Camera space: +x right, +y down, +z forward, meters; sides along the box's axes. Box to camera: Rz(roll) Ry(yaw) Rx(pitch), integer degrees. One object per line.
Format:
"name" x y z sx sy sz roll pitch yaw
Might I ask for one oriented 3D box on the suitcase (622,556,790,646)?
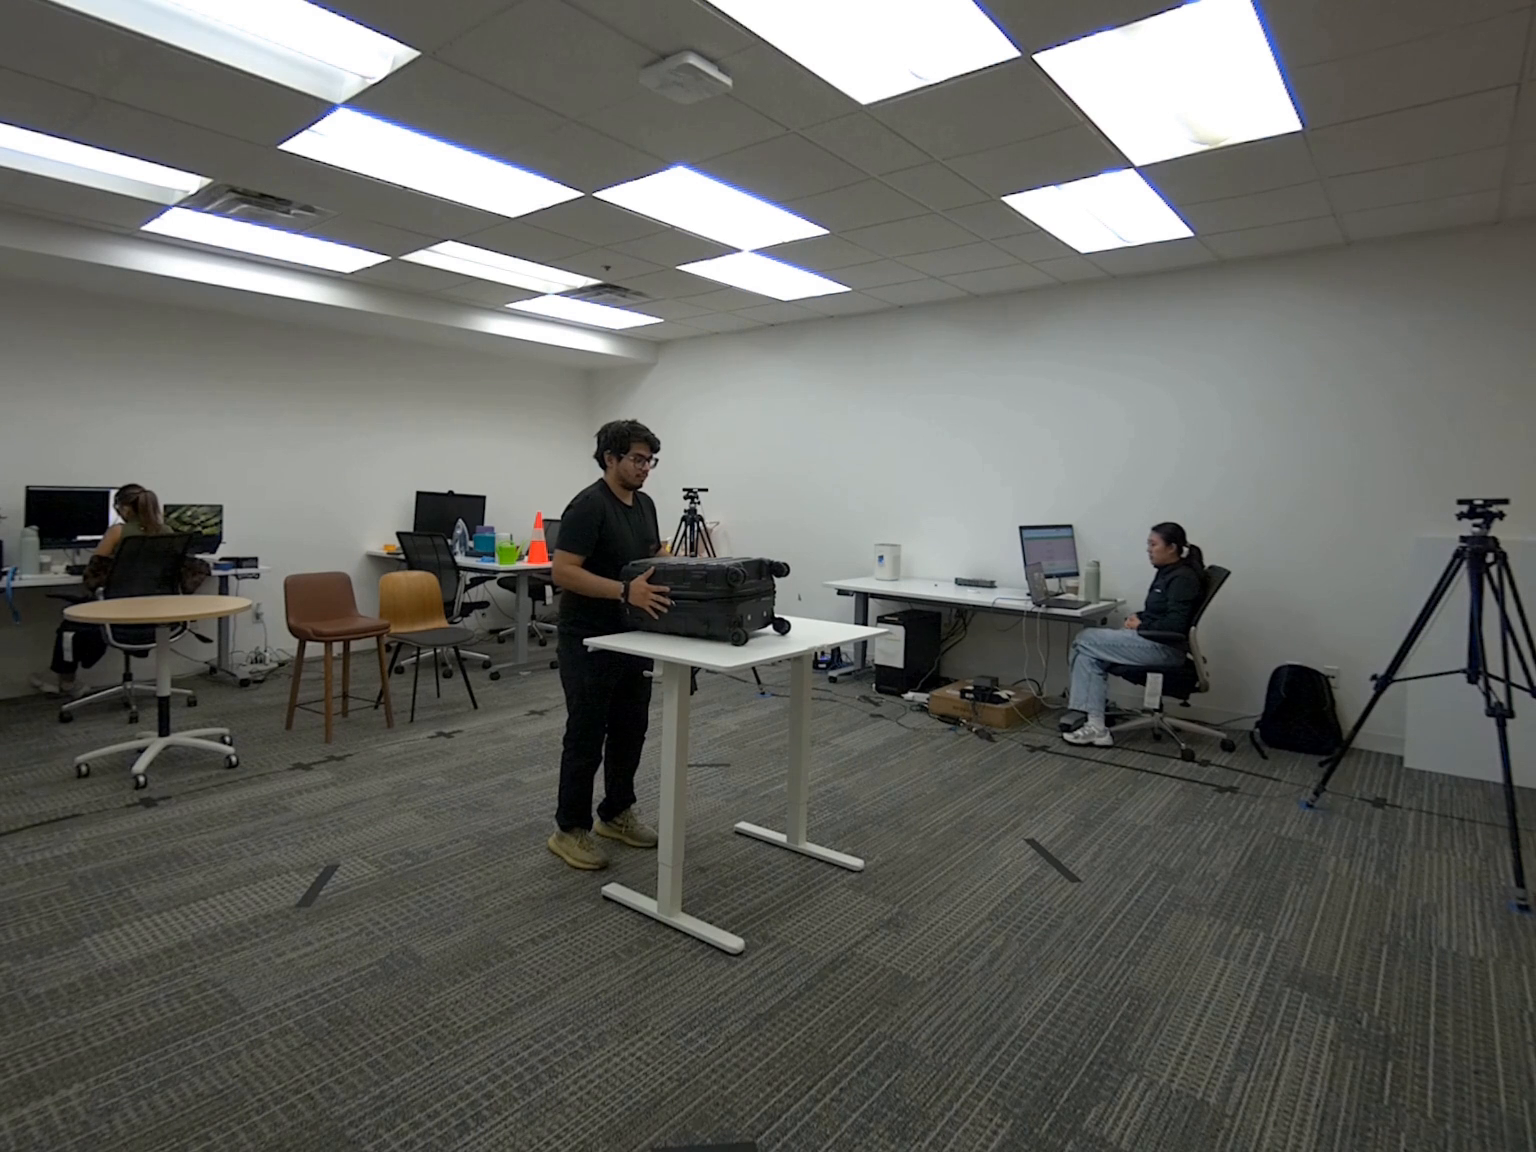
"suitcase" -0.243 0.070 3.004 0.566 0.247 0.366 2 5 32
